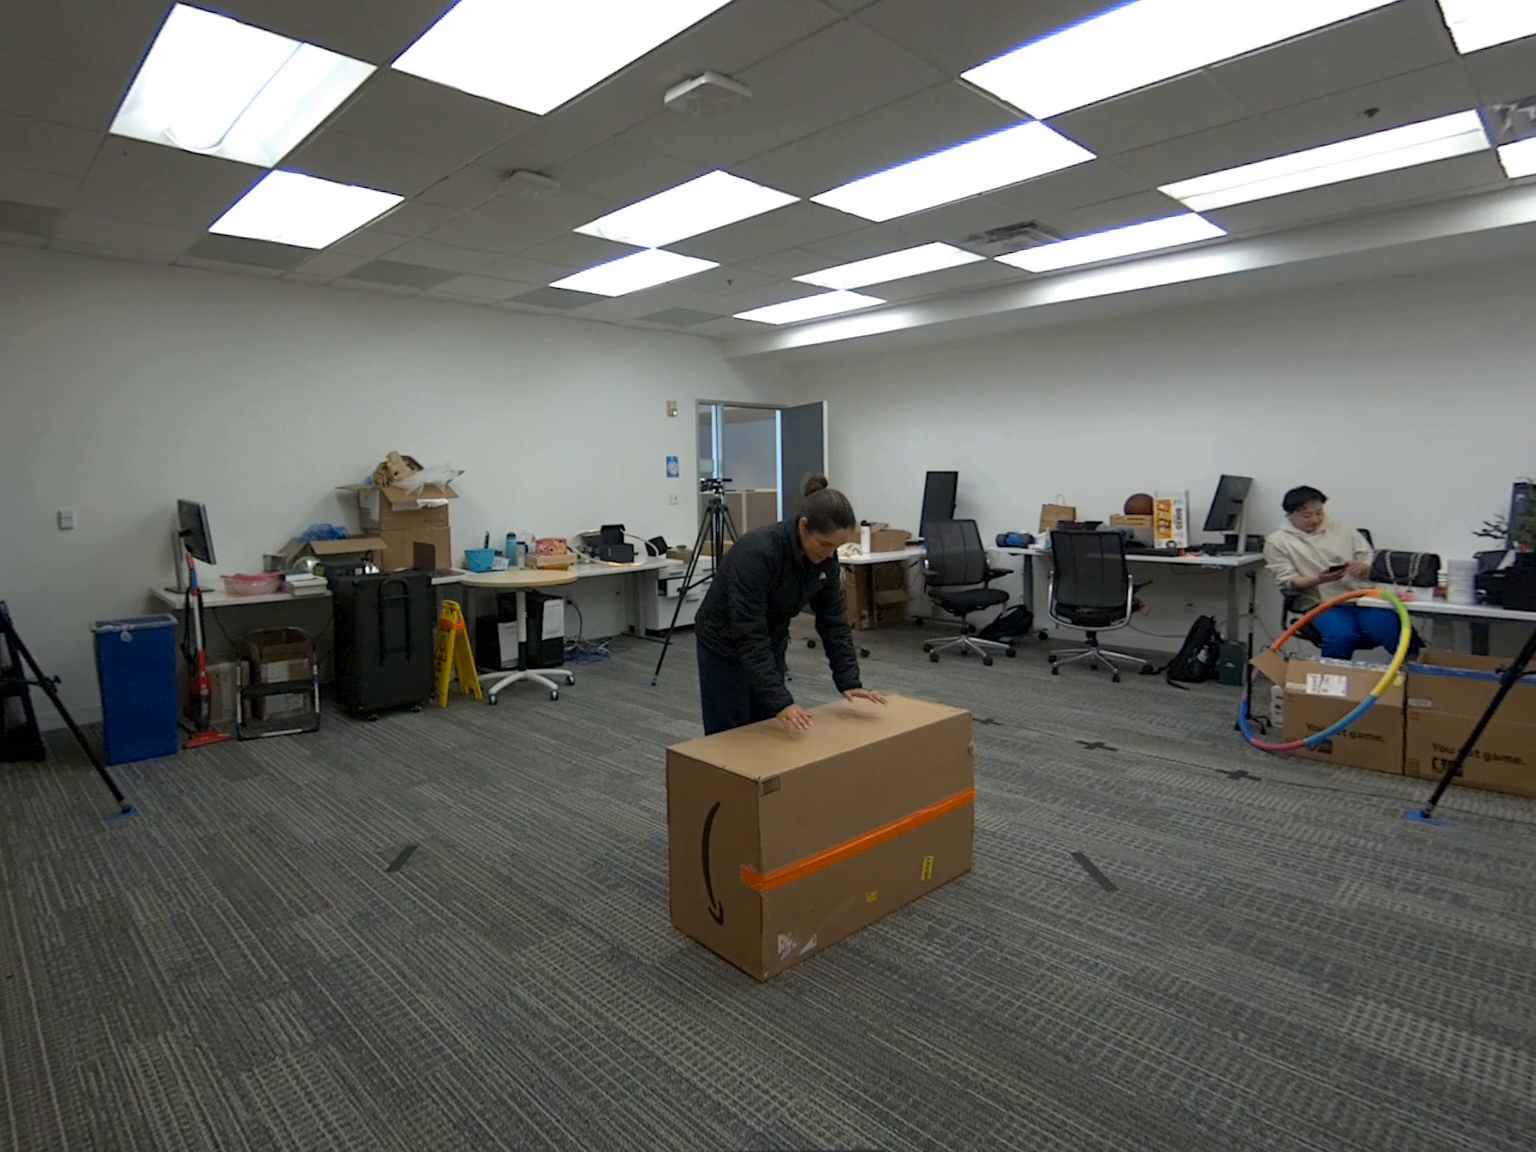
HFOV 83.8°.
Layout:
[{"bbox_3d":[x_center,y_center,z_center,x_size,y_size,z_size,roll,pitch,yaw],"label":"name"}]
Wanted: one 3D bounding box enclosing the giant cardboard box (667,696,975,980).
[{"bbox_3d":[0.207,0.782,2.841,1.000,0.582,0.460,-6,6,-41],"label":"giant cardboard box"}]
